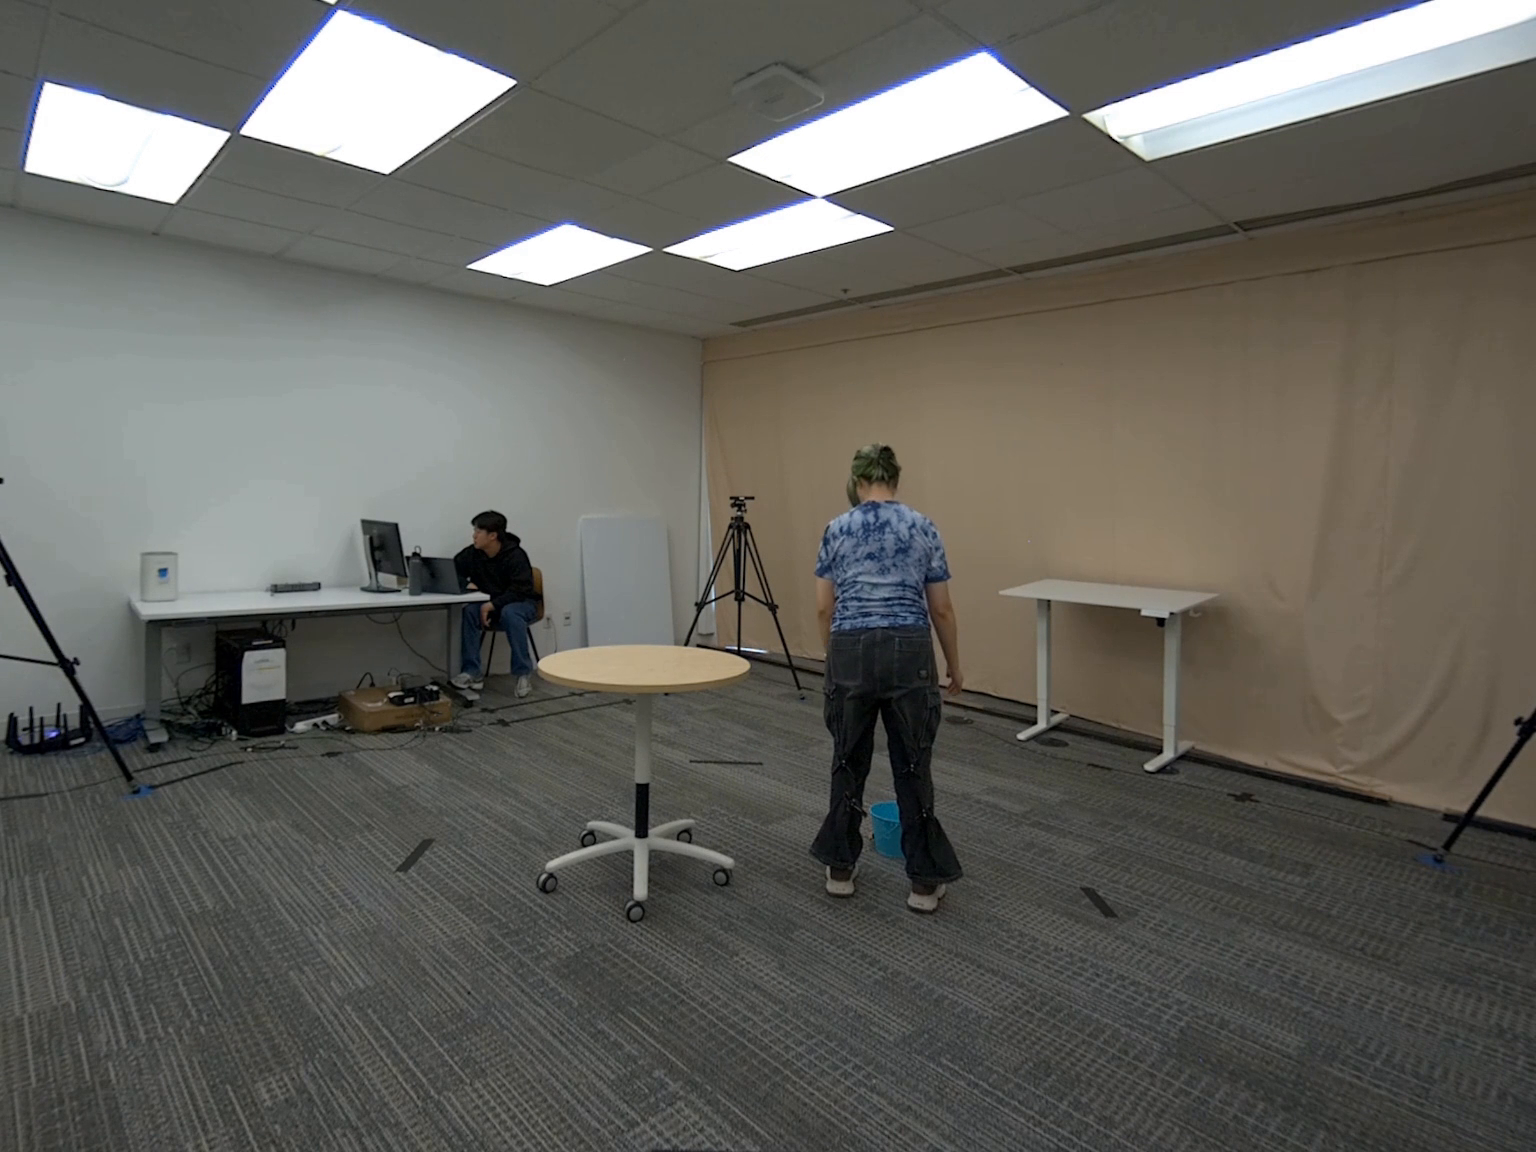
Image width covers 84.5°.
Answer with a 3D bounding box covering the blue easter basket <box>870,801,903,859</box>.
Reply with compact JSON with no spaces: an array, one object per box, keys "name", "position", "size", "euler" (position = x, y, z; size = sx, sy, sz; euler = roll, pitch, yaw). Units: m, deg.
[{"name":"blue easter basket","position":[0.512,1.017,3.386],"size":[0.243,0.155,0.244],"euler":[1,5,-1]}]
